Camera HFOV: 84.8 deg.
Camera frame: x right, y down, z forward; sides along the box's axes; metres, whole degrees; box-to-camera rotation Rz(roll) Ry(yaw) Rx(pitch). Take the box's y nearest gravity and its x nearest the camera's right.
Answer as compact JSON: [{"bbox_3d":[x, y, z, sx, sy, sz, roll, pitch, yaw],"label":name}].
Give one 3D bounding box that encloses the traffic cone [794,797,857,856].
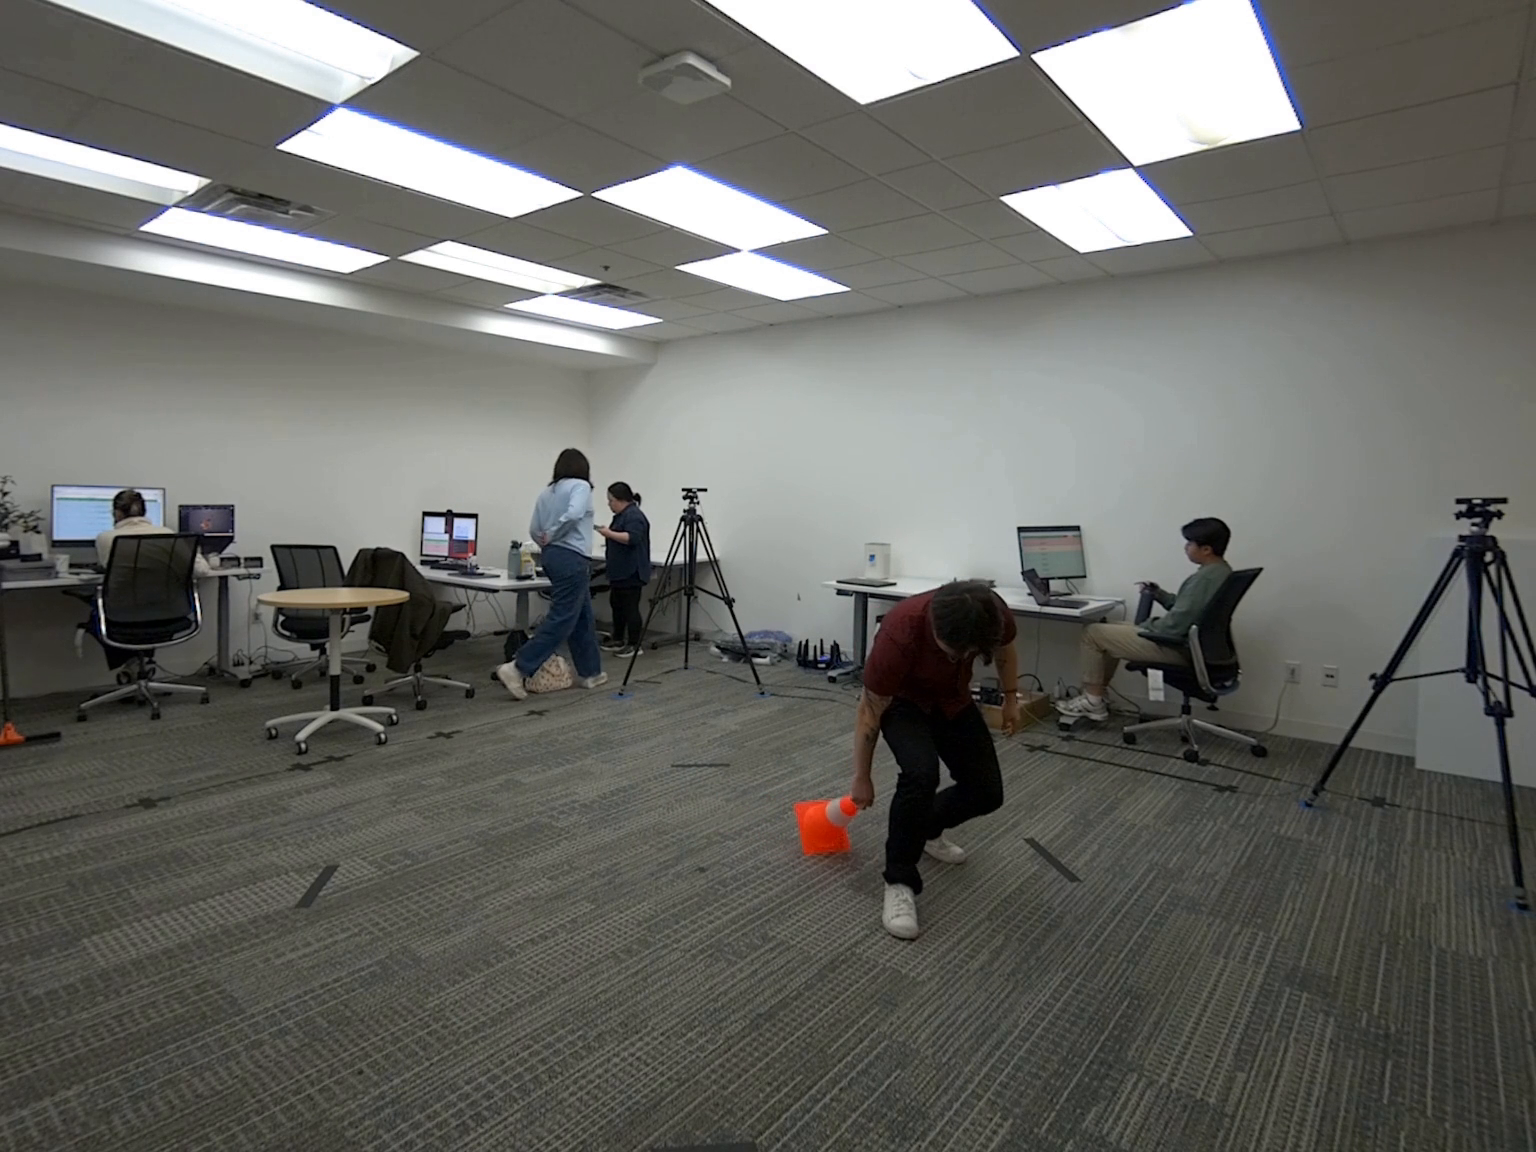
[{"bbox_3d":[0.271,0.887,3.188,0.200,0.209,0.381,5,-32,-23],"label":"traffic cone"}]
